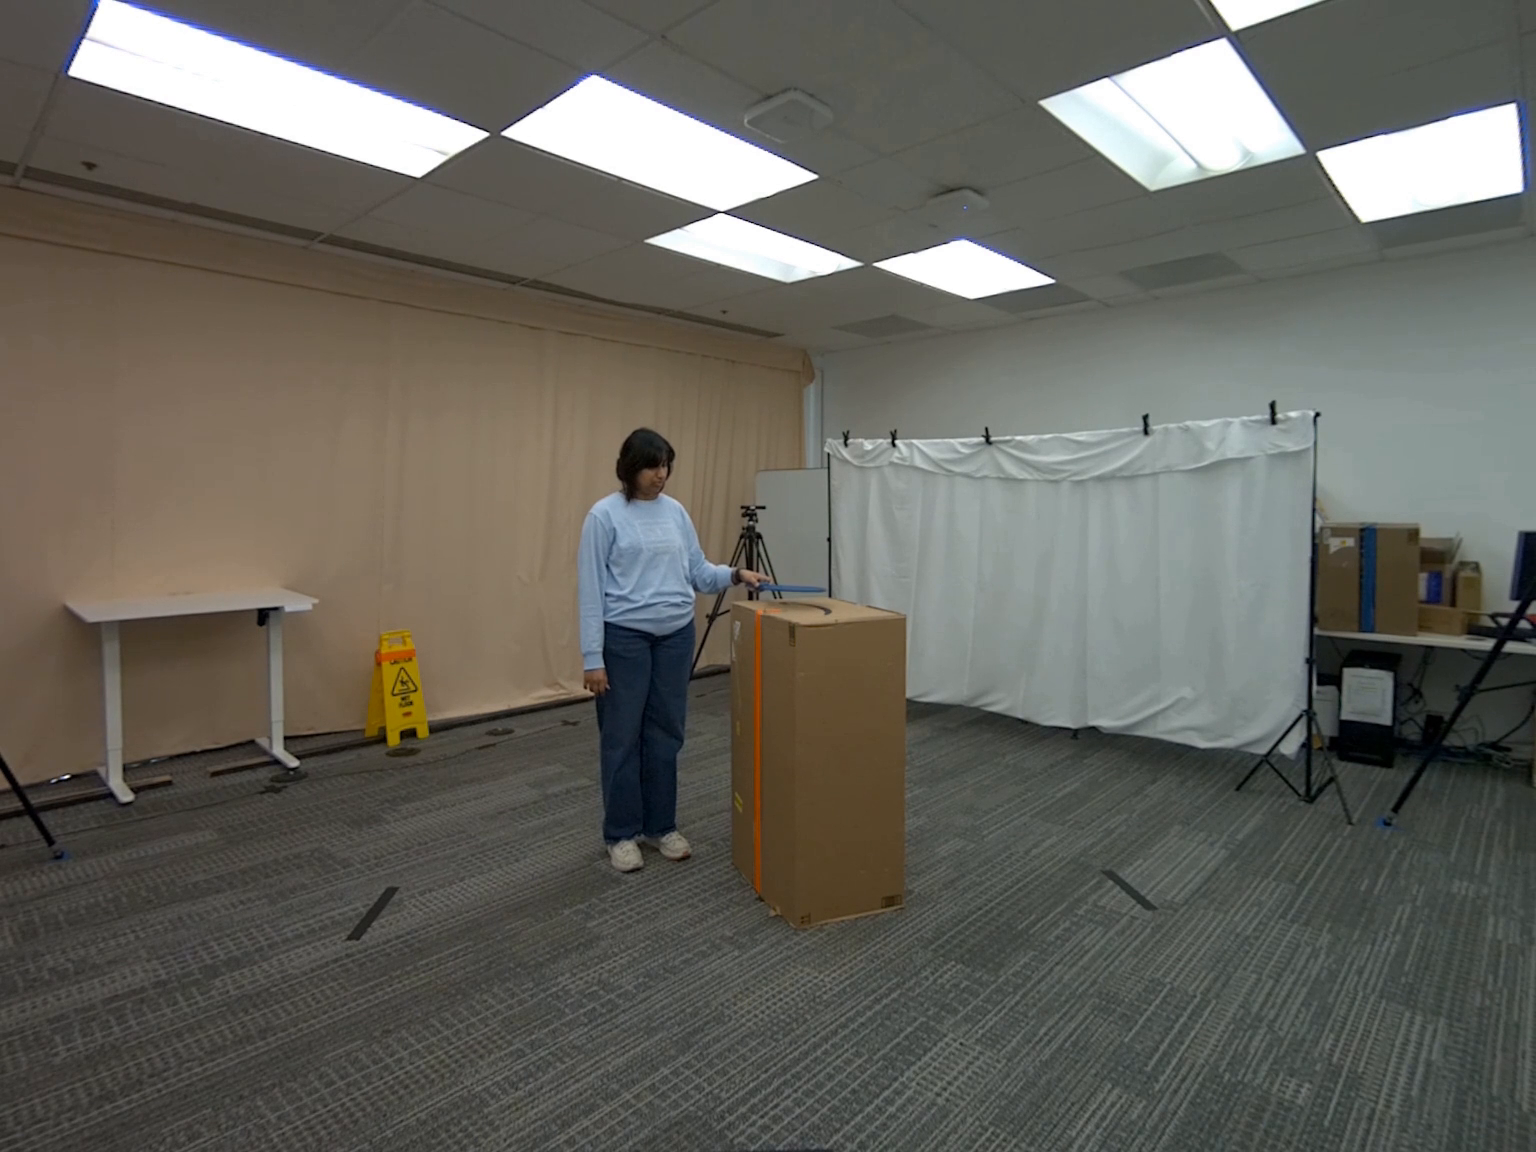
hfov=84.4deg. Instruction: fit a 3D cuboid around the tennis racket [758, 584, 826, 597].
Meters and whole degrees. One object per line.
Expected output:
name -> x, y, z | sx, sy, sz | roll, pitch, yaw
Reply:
tennis racket -> 0.043, 0.052, 3.157 | 0.207, 0.032, 0.447 | 0, 4, -41
